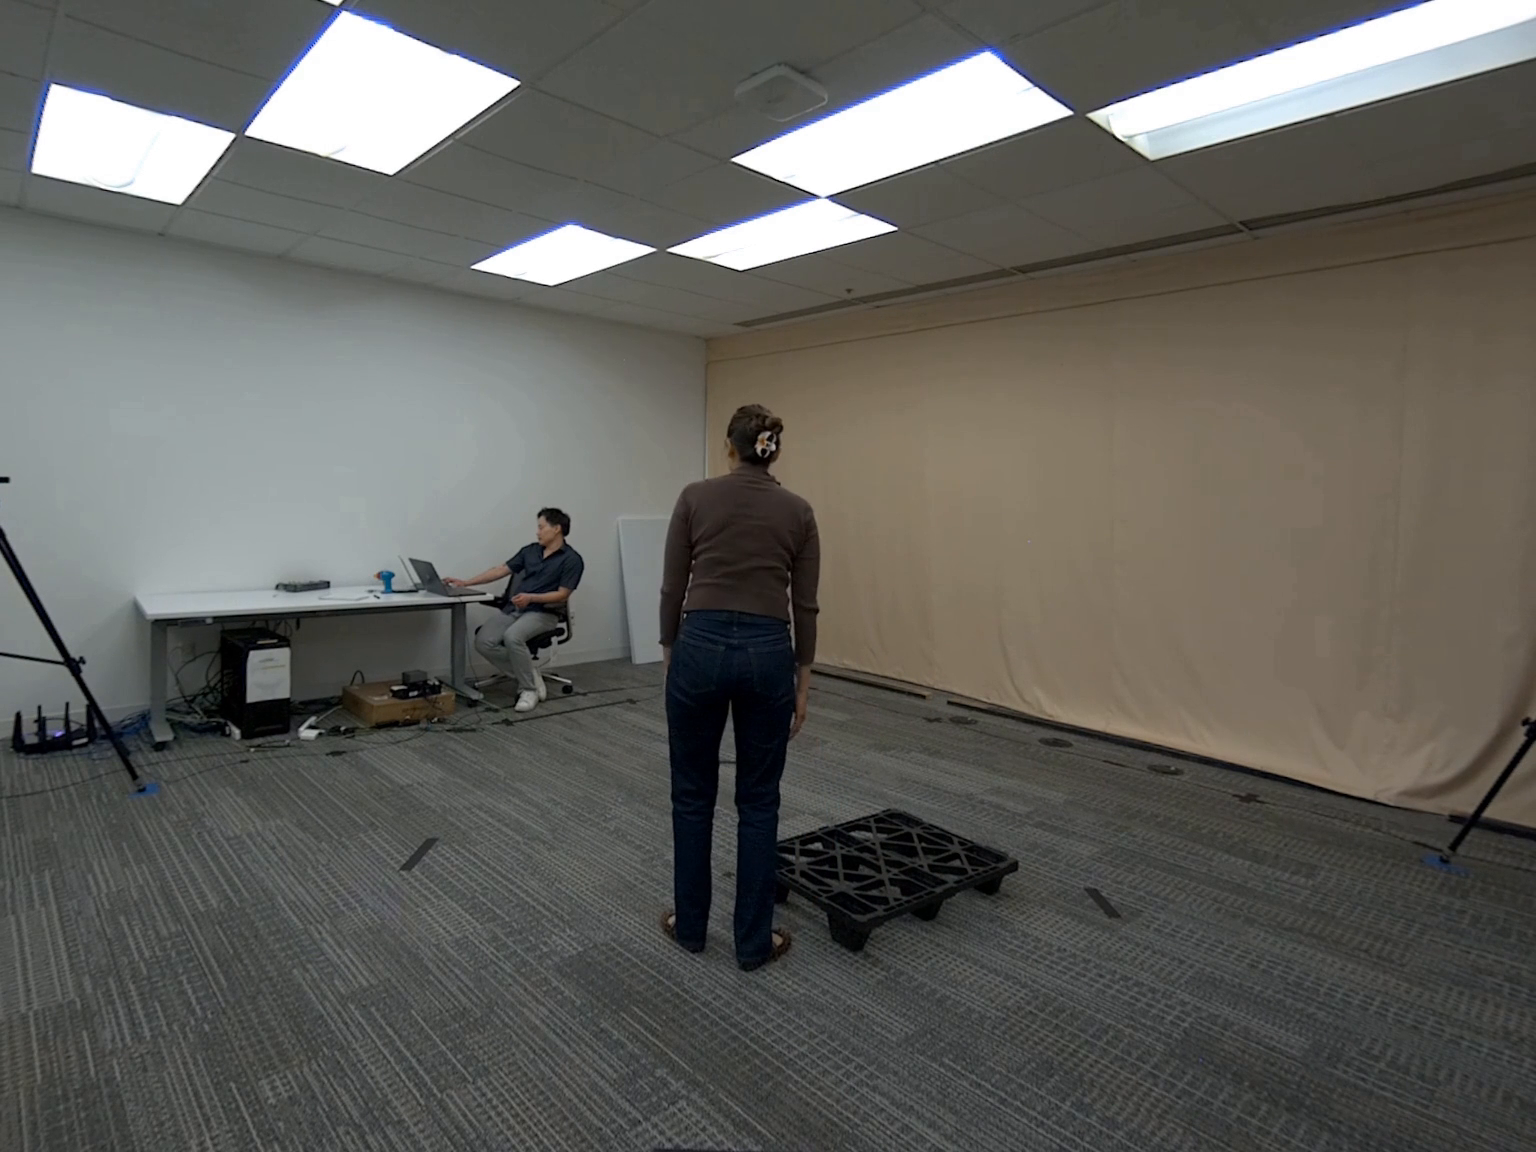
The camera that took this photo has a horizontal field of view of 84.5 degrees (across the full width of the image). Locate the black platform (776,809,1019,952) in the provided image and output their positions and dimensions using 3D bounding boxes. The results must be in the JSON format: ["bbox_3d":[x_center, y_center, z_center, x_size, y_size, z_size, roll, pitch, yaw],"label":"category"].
[{"bbox_3d":[0.385,1.060,2.988,0.787,0.143,0.620,-2,6,-38],"label":"black platform"}]
